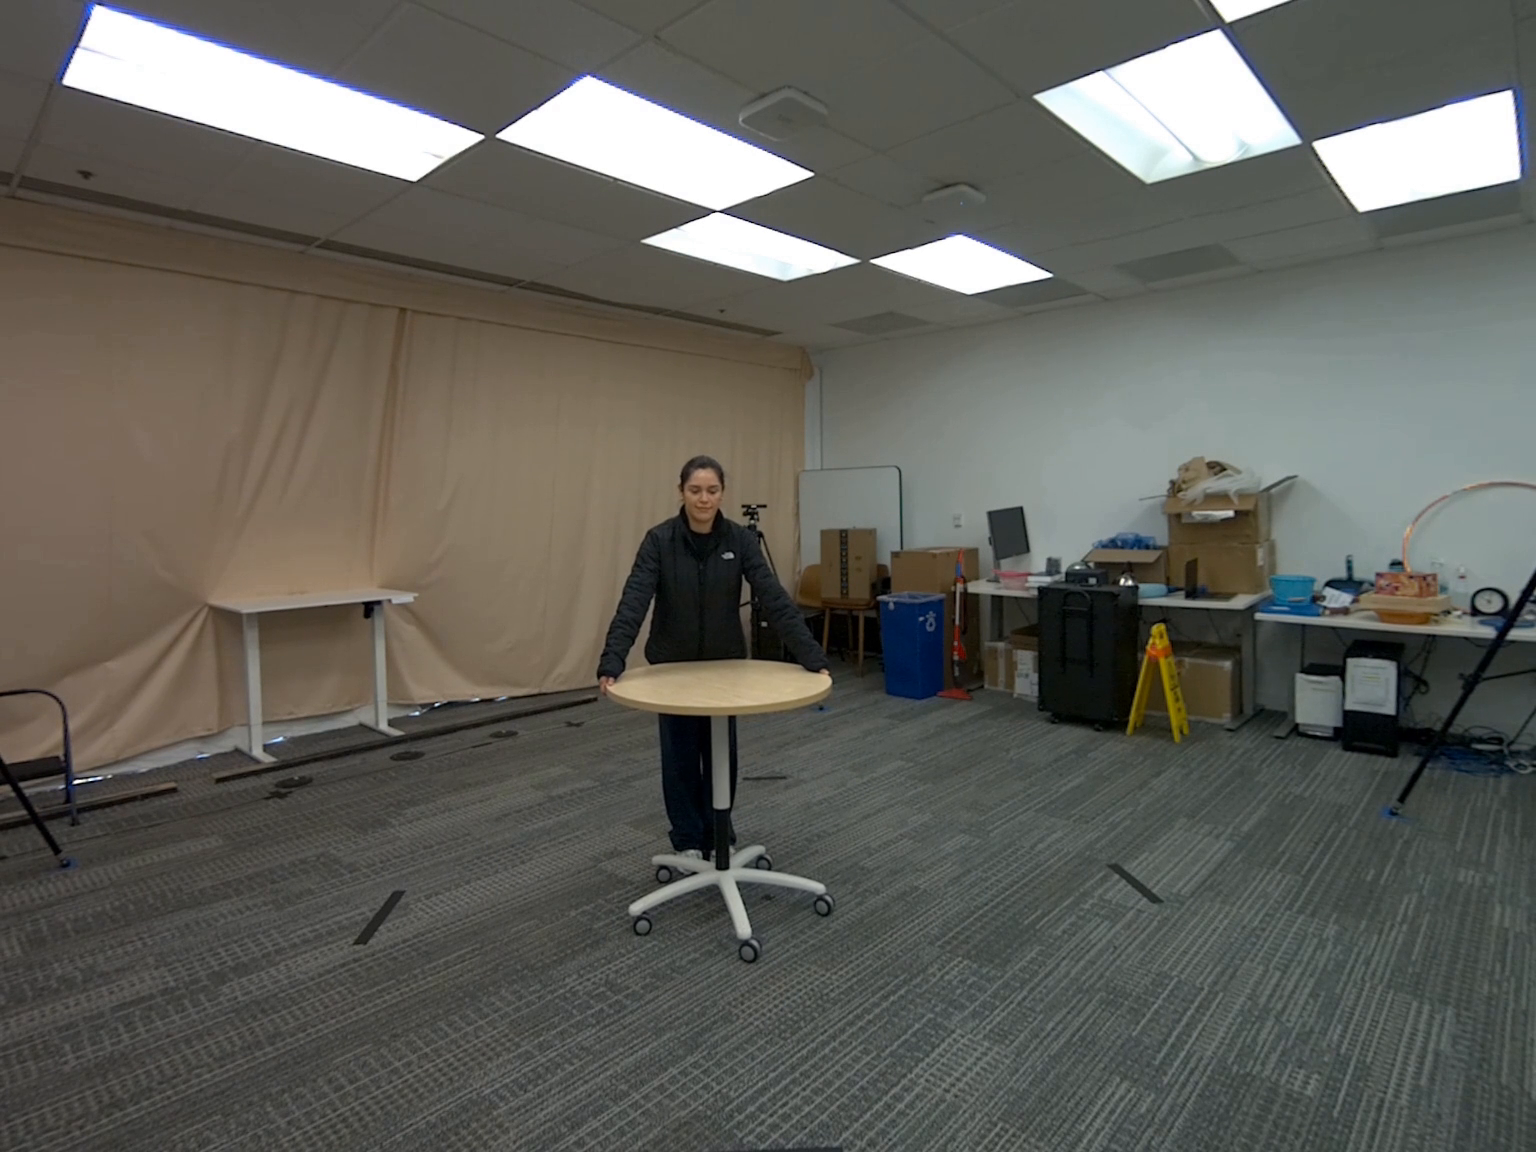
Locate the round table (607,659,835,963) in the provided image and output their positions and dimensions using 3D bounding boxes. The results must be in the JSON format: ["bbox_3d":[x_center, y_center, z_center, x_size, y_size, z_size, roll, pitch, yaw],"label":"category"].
[{"bbox_3d":[-0.156,0.748,2.904,0.784,0.785,0.788,-1,4,-2],"label":"round table"}]
